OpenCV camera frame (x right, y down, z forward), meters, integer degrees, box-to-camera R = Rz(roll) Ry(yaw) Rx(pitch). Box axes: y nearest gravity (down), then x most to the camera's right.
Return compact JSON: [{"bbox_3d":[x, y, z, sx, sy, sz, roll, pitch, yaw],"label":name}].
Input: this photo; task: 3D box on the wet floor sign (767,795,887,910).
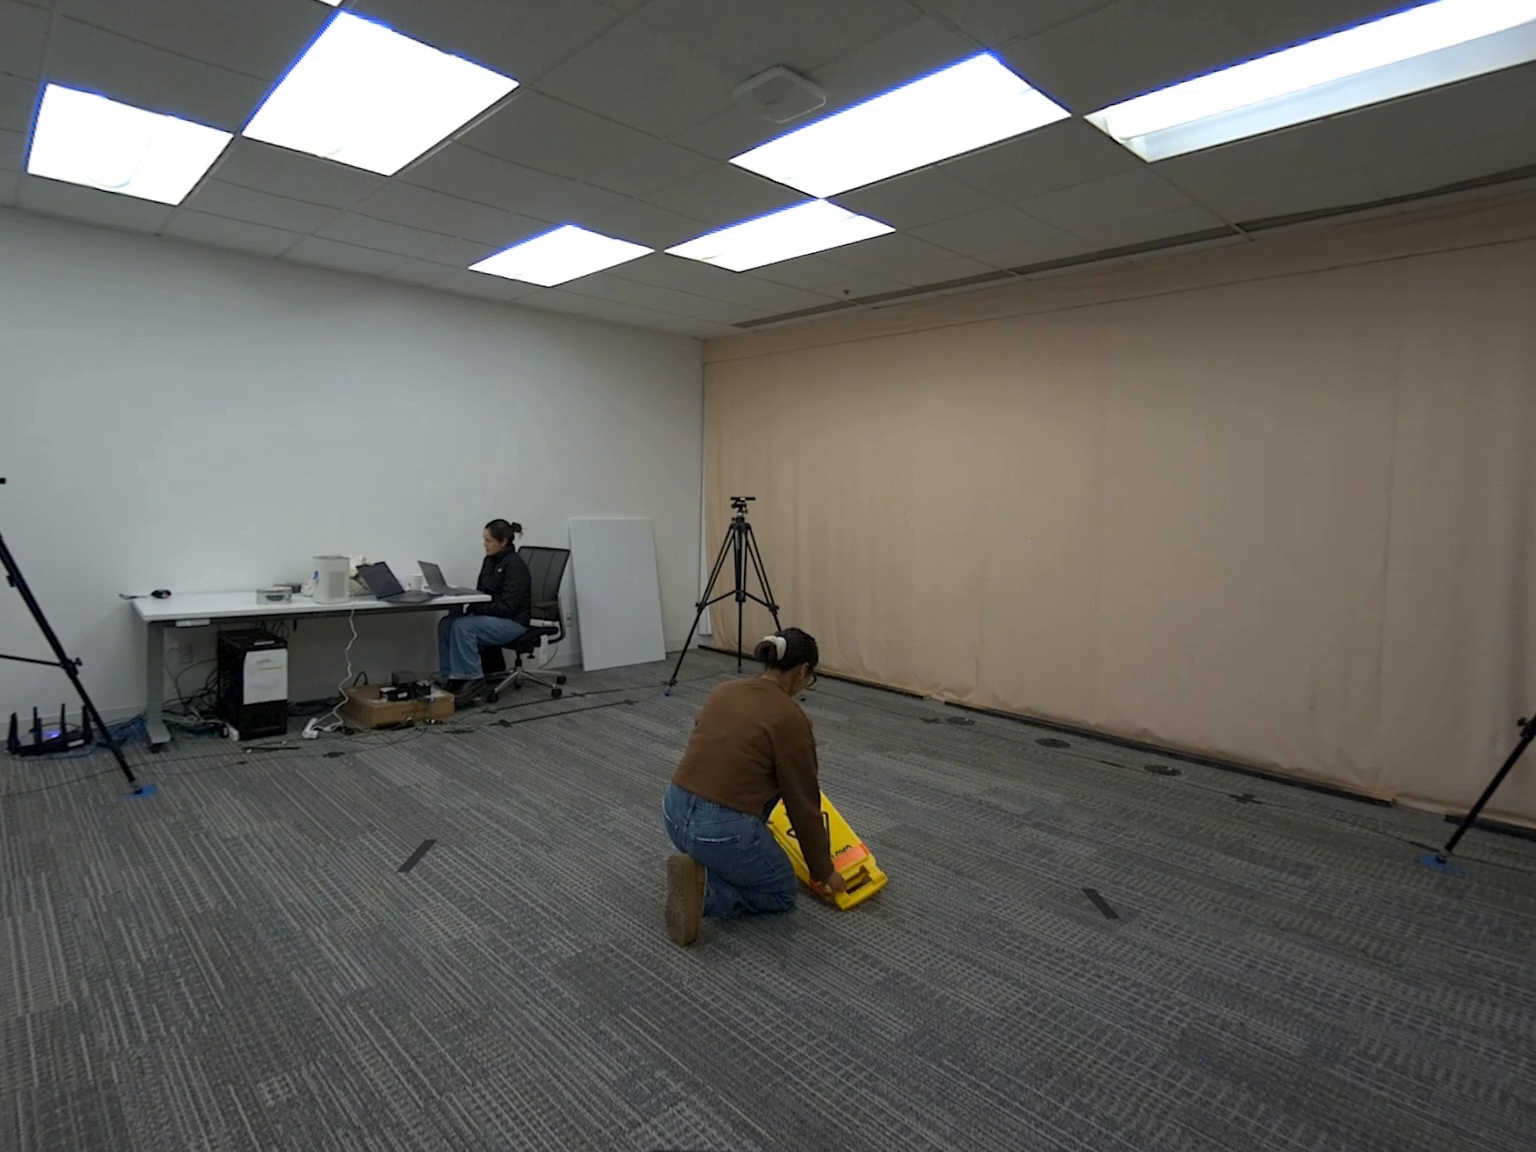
[{"bbox_3d":[0.175,1.013,3.154,0.279,0.284,0.664,-21,23,-20],"label":"wet floor sign"}]
